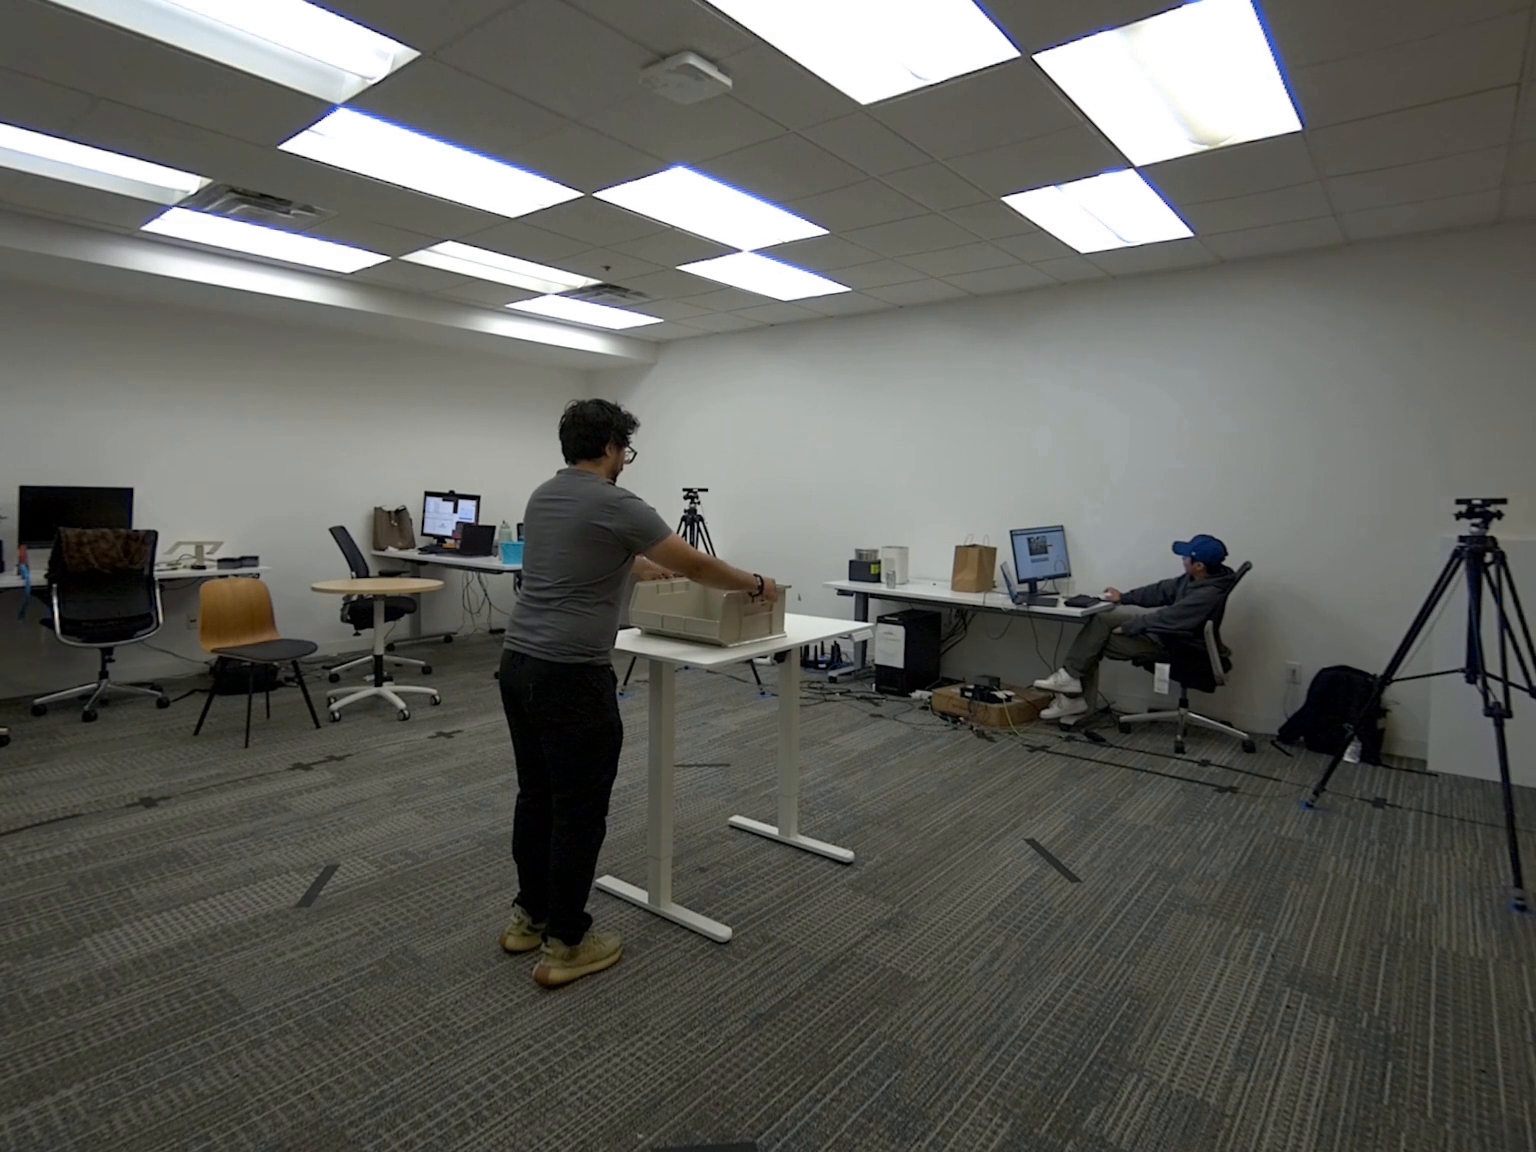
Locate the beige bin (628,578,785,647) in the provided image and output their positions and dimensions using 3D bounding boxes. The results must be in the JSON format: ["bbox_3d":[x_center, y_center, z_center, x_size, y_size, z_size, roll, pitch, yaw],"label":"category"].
[{"bbox_3d":[-0.209,0.118,2.932,0.436,0.188,0.366,4,4,39],"label":"beige bin"}]
